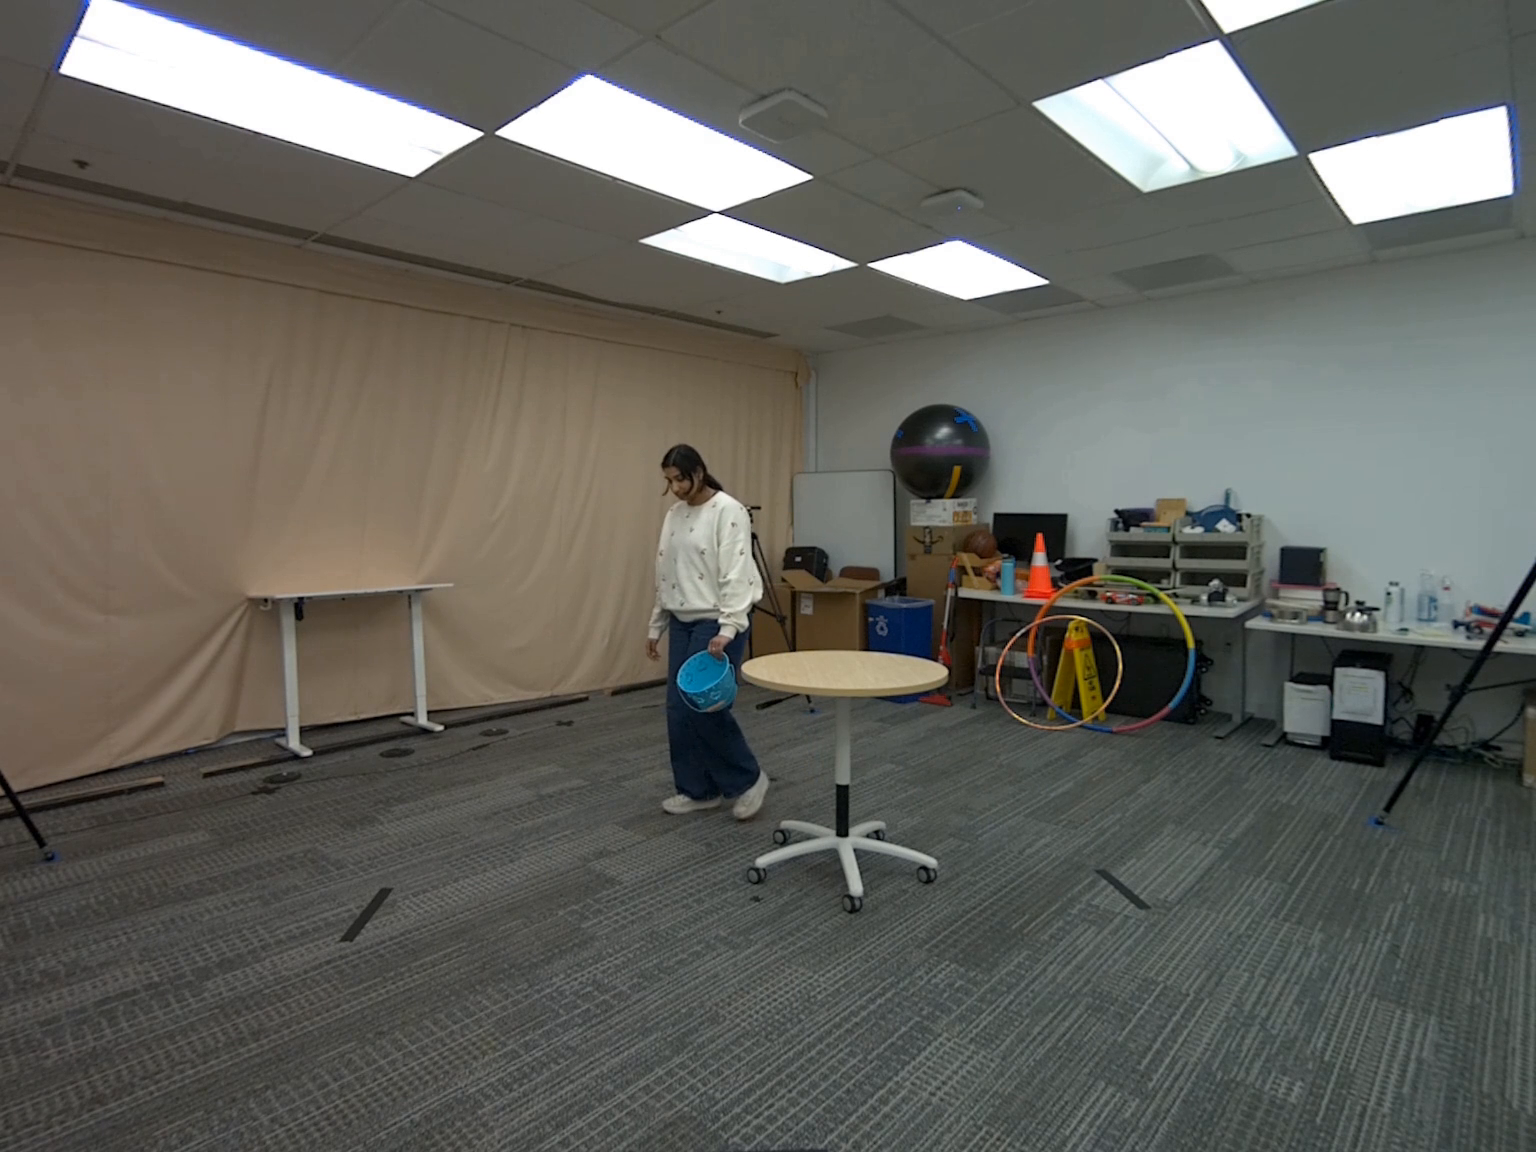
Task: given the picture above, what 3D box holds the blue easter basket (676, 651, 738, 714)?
[{"bbox_3d":[-0.239,0.447,3.497,0.246,0.151,0.248,-18,34,11],"label":"blue easter basket"}]
